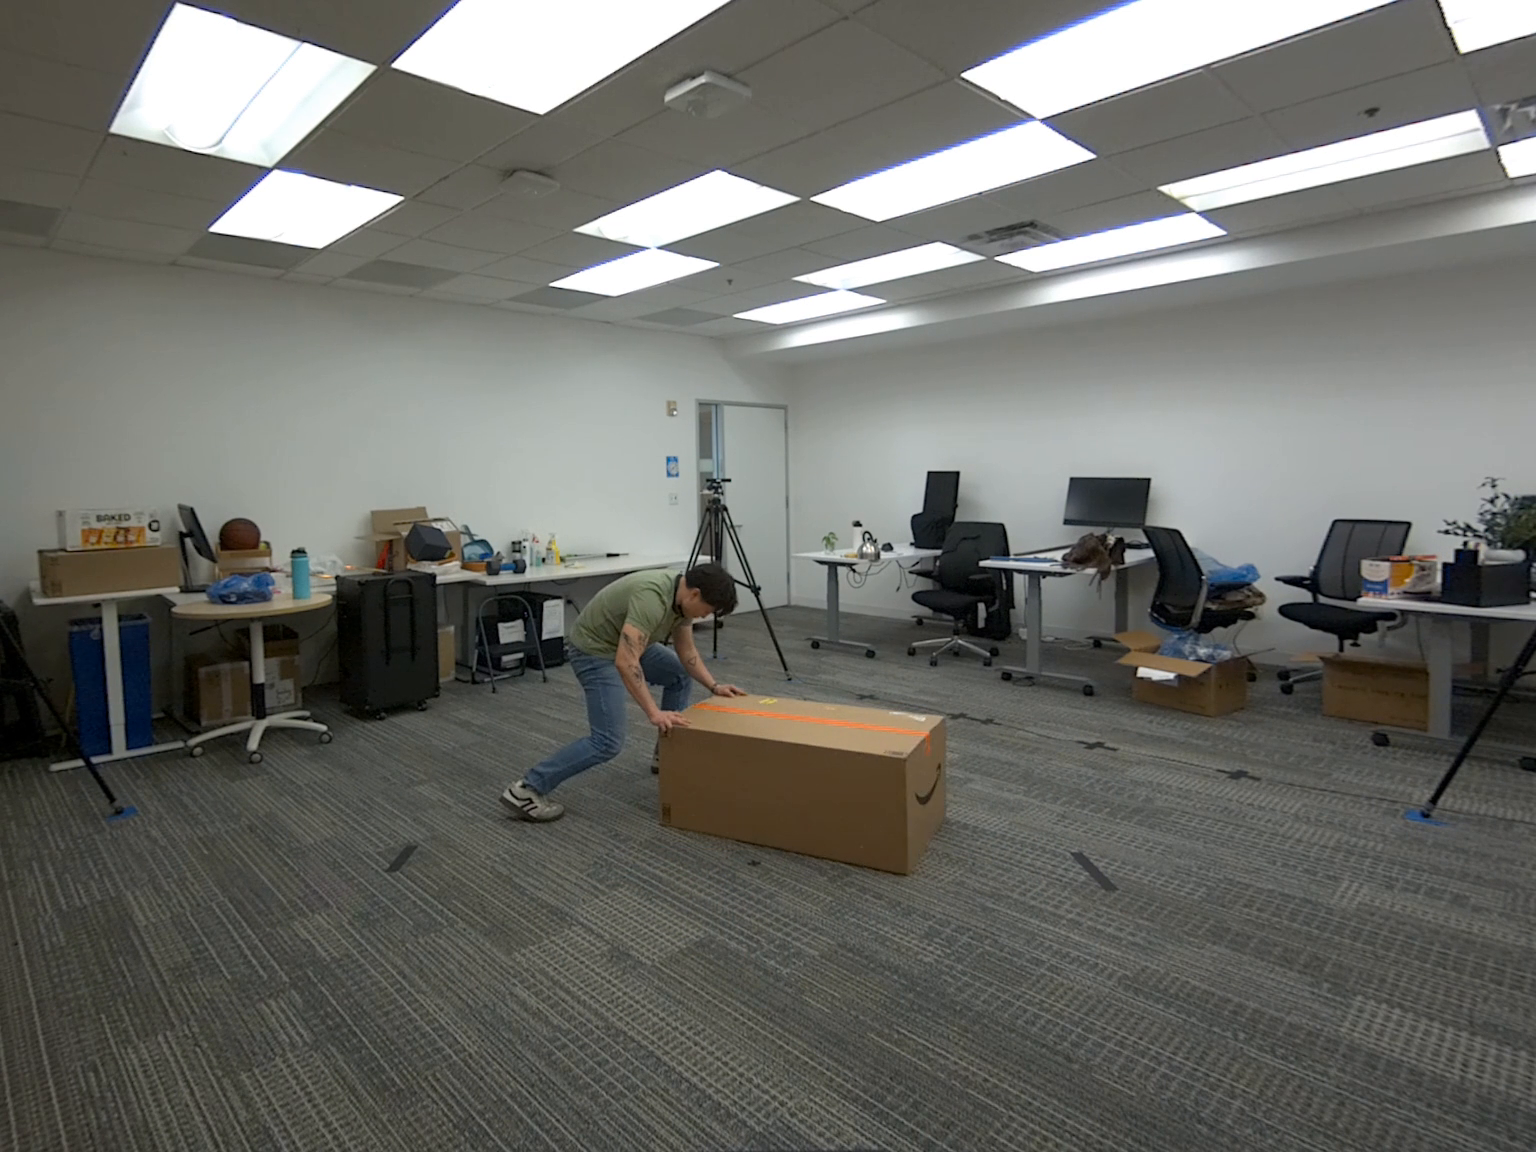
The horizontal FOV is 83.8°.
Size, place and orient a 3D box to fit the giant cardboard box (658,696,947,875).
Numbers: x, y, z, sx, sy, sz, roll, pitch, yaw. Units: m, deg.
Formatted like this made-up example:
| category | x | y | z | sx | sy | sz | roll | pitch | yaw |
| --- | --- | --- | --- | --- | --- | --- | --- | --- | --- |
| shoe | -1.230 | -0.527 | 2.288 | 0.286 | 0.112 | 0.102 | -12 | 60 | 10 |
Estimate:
| category | x | y | z | sx | sy | sz | roll | pitch | yaw |
| --- | --- | --- | --- | --- | --- | --- | --- | --- | --- |
| giant cardboard box | 0.143 | 0.789 | 3.450 | 1.051 | 0.425 | 0.565 | 2 | 5 | 27 |
